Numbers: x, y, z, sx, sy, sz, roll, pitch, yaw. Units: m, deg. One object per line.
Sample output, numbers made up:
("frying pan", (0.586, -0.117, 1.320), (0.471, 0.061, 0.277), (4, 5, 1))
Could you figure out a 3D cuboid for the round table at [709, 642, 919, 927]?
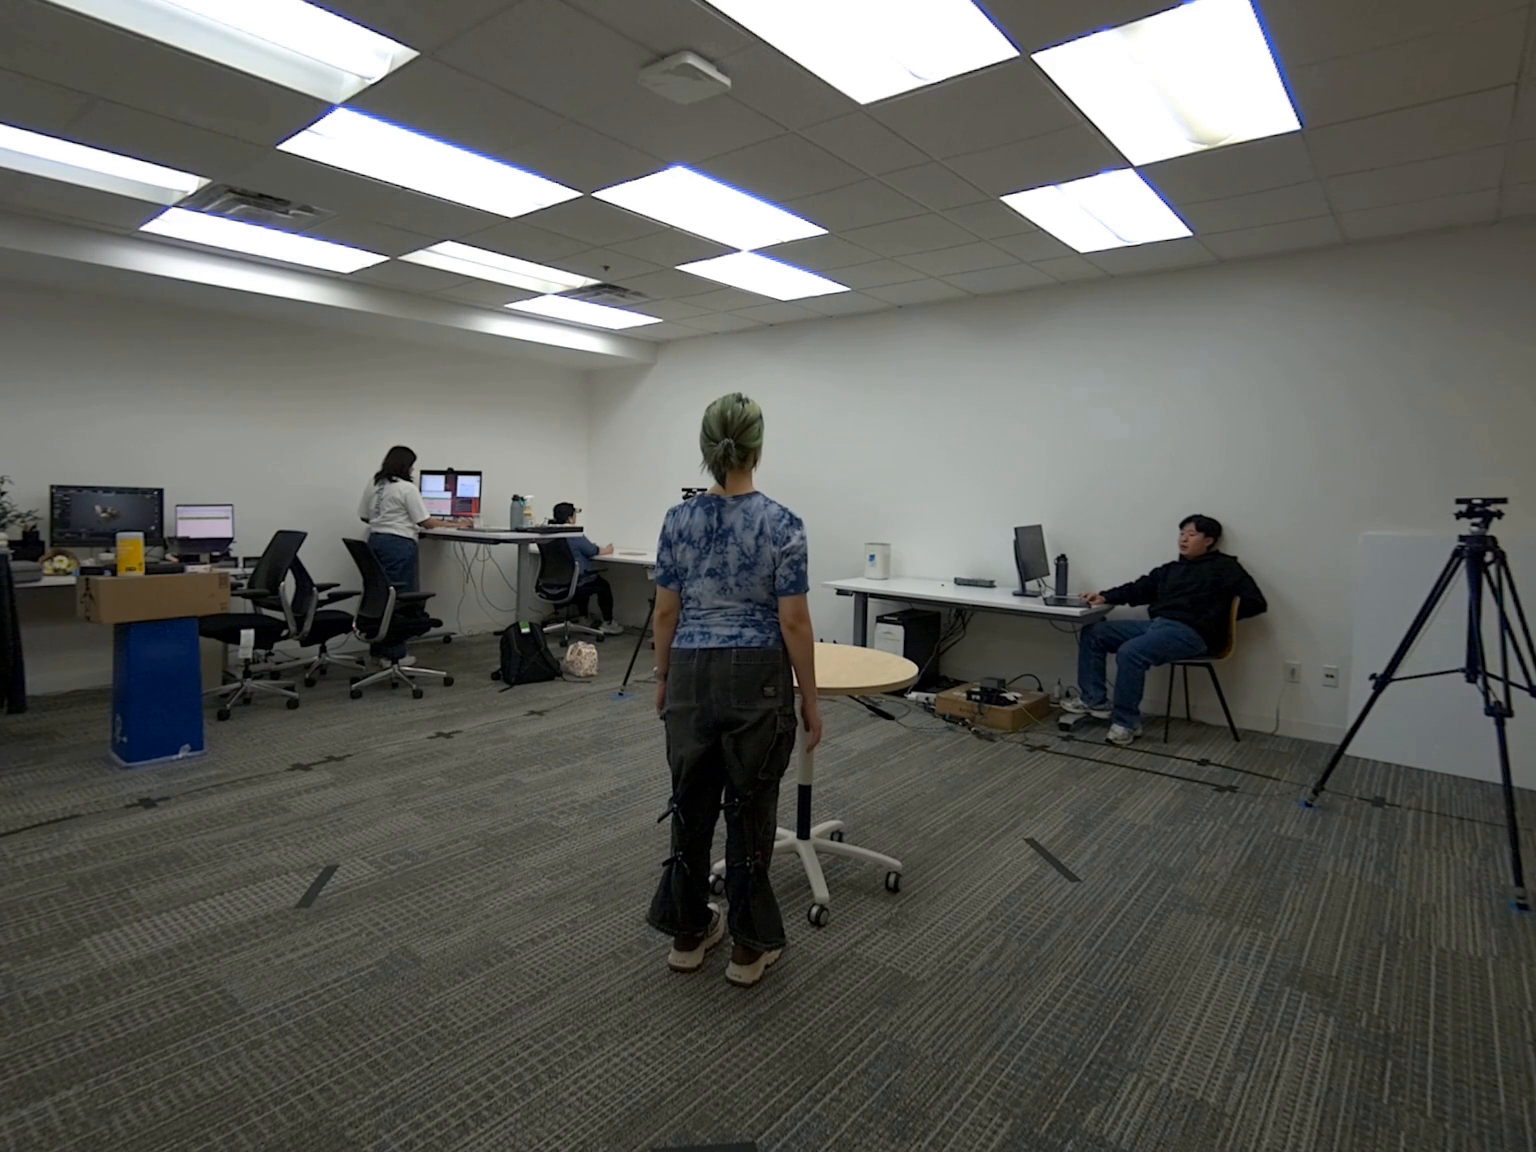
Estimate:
("round table", (0.131, 0.698, 3.054), (0.763, 0.791, 0.768), (1, 4, -2))
